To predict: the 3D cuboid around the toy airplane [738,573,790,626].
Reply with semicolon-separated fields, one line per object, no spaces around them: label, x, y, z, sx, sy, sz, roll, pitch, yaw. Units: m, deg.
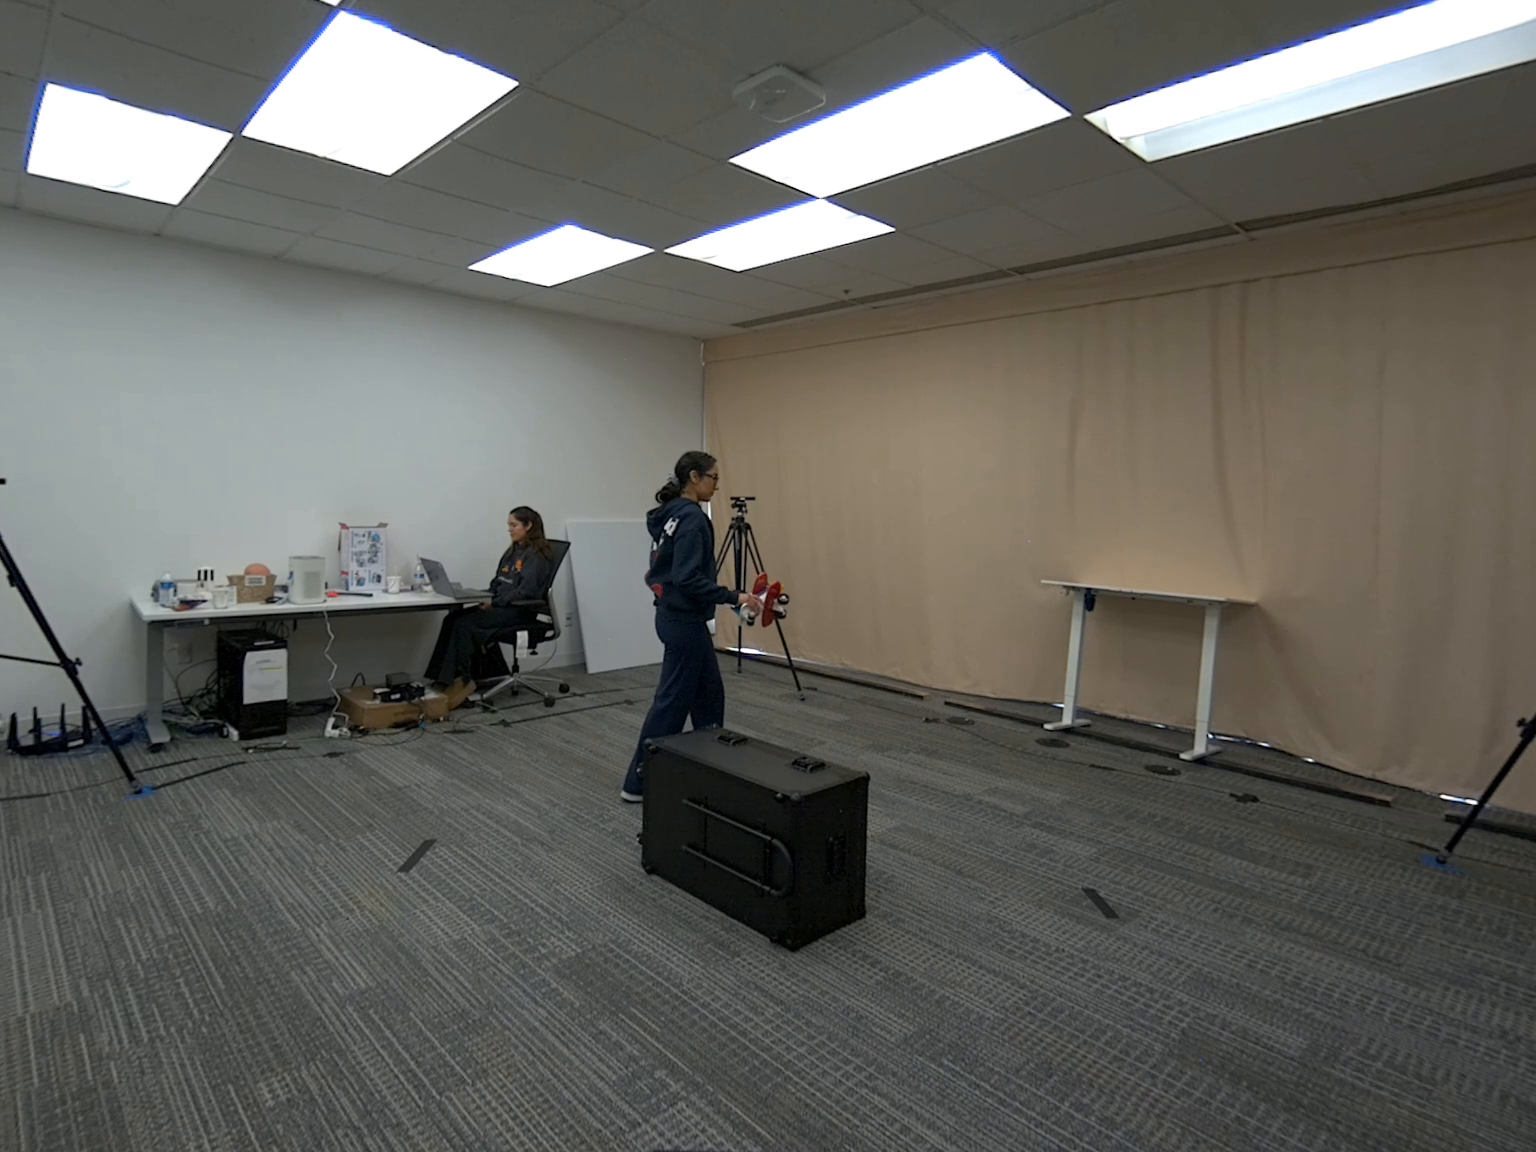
toy airplane;-0.041;0.107;3.770;0.252;0.250;0.161;11;27;-47
